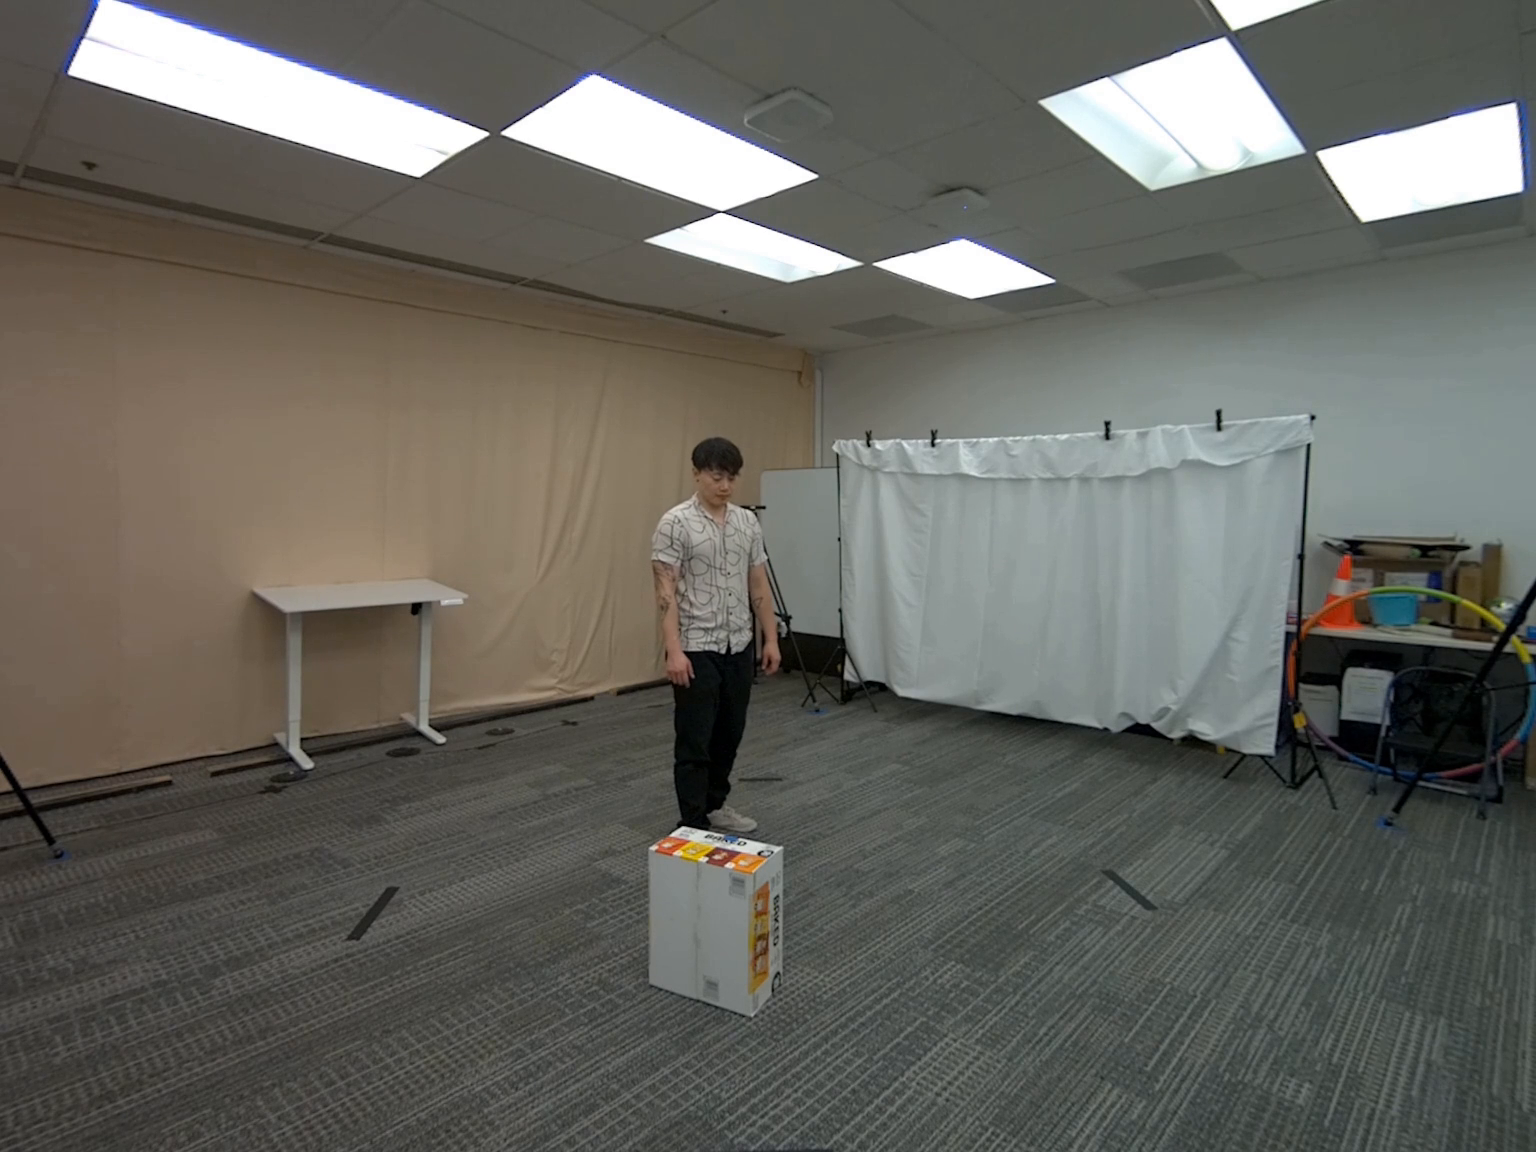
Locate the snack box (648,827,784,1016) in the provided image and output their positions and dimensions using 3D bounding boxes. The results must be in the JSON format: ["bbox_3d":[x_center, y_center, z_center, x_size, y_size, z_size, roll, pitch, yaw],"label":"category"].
[{"bbox_3d":[-0.150,0.986,2.439,0.349,0.404,0.200,2,4,27],"label":"snack box"}]
